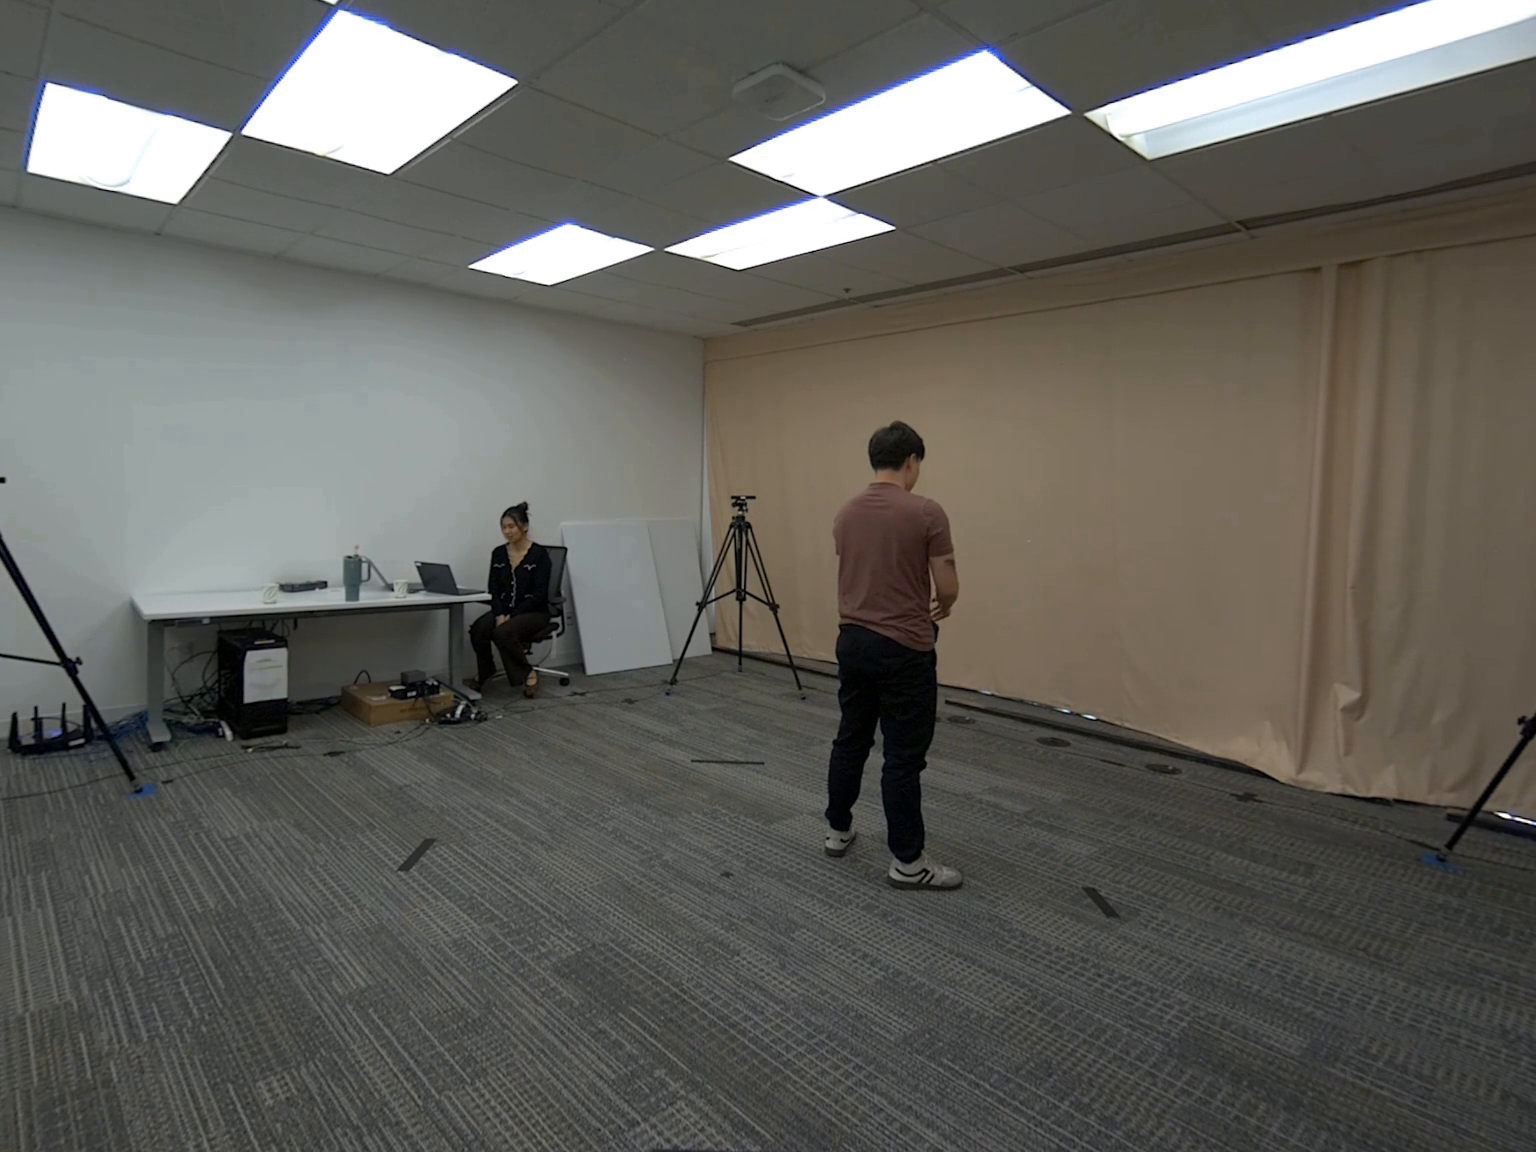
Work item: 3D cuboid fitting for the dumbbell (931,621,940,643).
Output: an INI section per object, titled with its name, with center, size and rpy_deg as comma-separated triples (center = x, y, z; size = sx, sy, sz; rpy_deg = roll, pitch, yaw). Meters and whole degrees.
[dumbbell]
center = 0.616, 0.199, 3.388
size = 0.109, 0.122, 0.293
rpy_deg = 14, 8, 4
